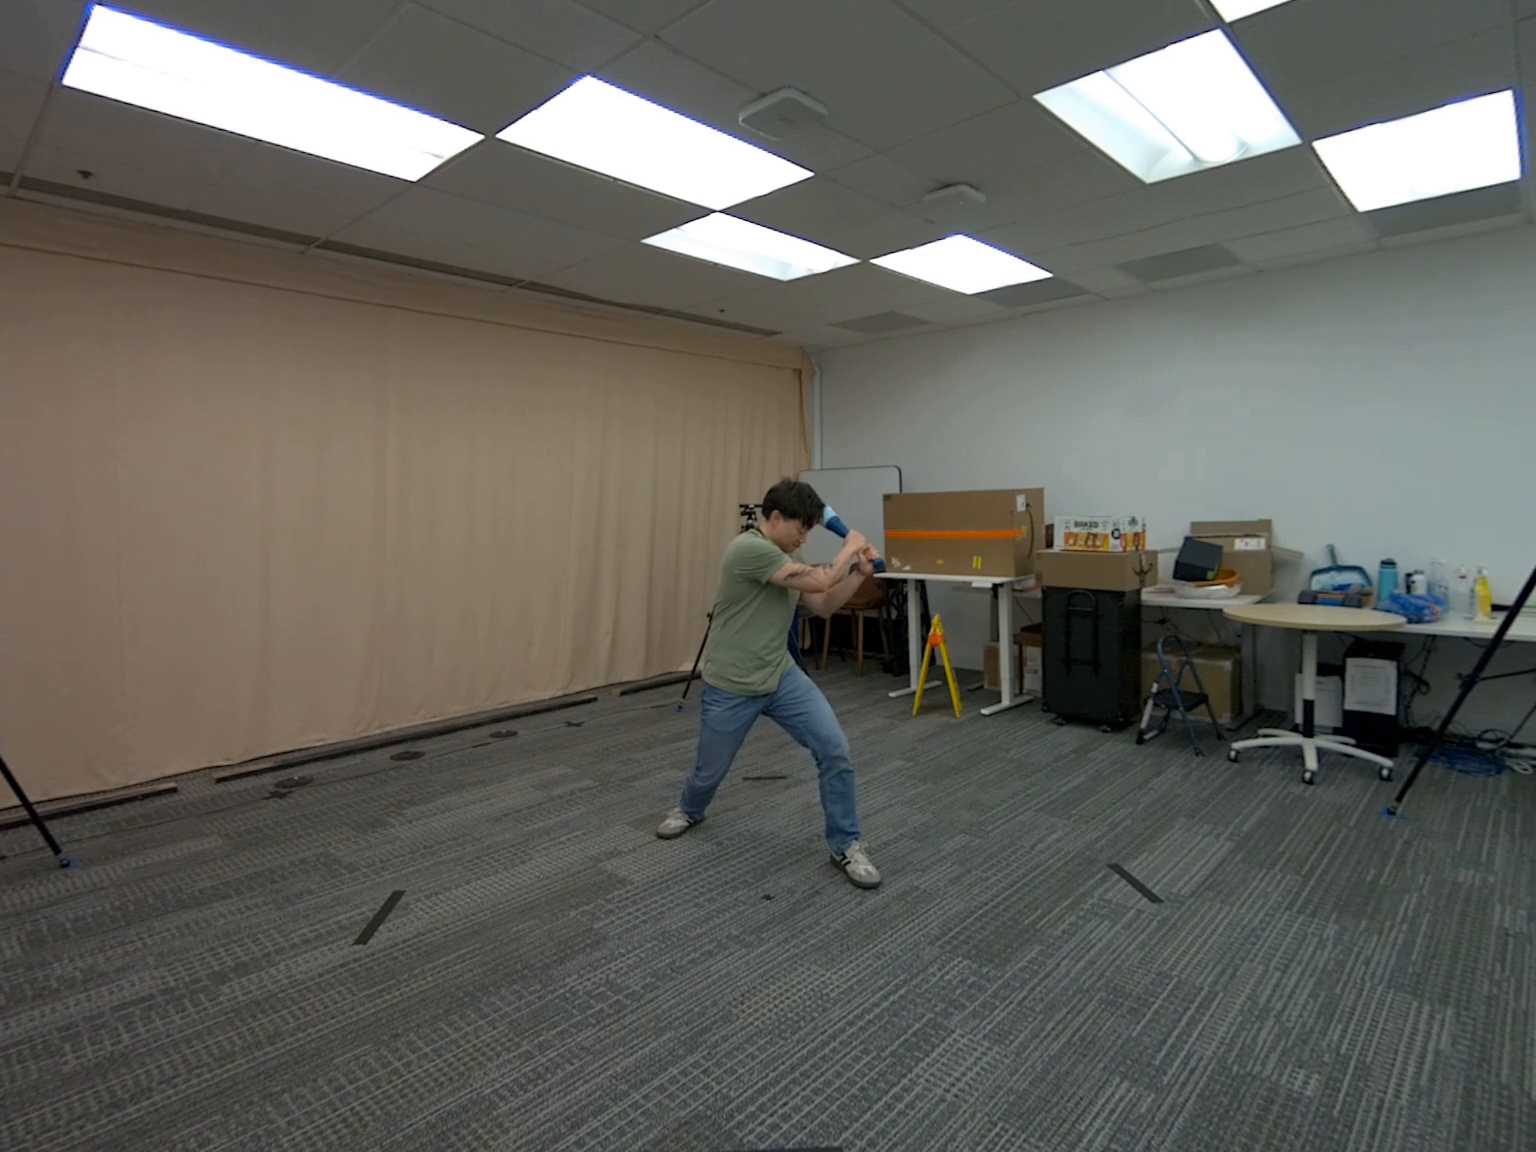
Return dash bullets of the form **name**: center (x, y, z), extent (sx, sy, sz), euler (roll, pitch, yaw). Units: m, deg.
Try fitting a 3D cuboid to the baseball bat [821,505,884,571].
- **baseball bat**: center (0.283, -0.197, 3.389), extent (0.086, 0.089, 0.562), euler (-4, 40, -40)
